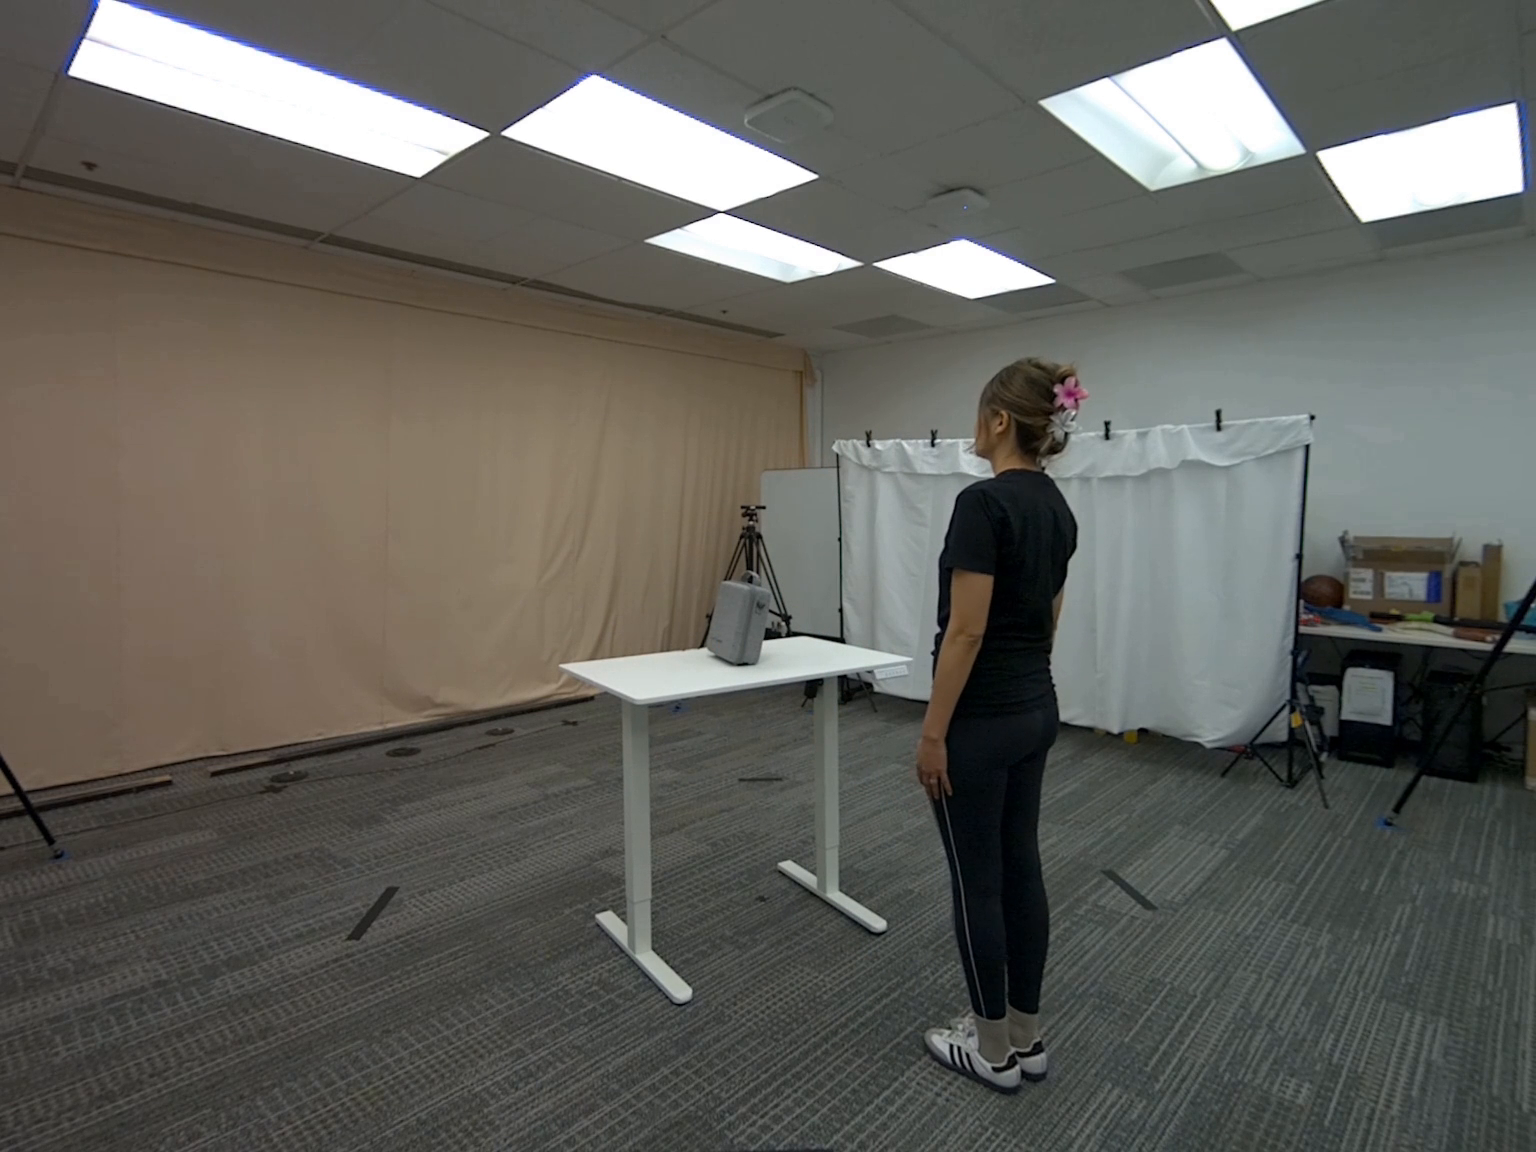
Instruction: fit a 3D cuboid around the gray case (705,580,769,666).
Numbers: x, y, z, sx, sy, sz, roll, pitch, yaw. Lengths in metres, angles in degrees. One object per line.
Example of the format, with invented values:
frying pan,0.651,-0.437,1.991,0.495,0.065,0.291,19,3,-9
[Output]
gray case,-0.094,0.148,2.780,0.102,0.260,0.263,8,1,-21
